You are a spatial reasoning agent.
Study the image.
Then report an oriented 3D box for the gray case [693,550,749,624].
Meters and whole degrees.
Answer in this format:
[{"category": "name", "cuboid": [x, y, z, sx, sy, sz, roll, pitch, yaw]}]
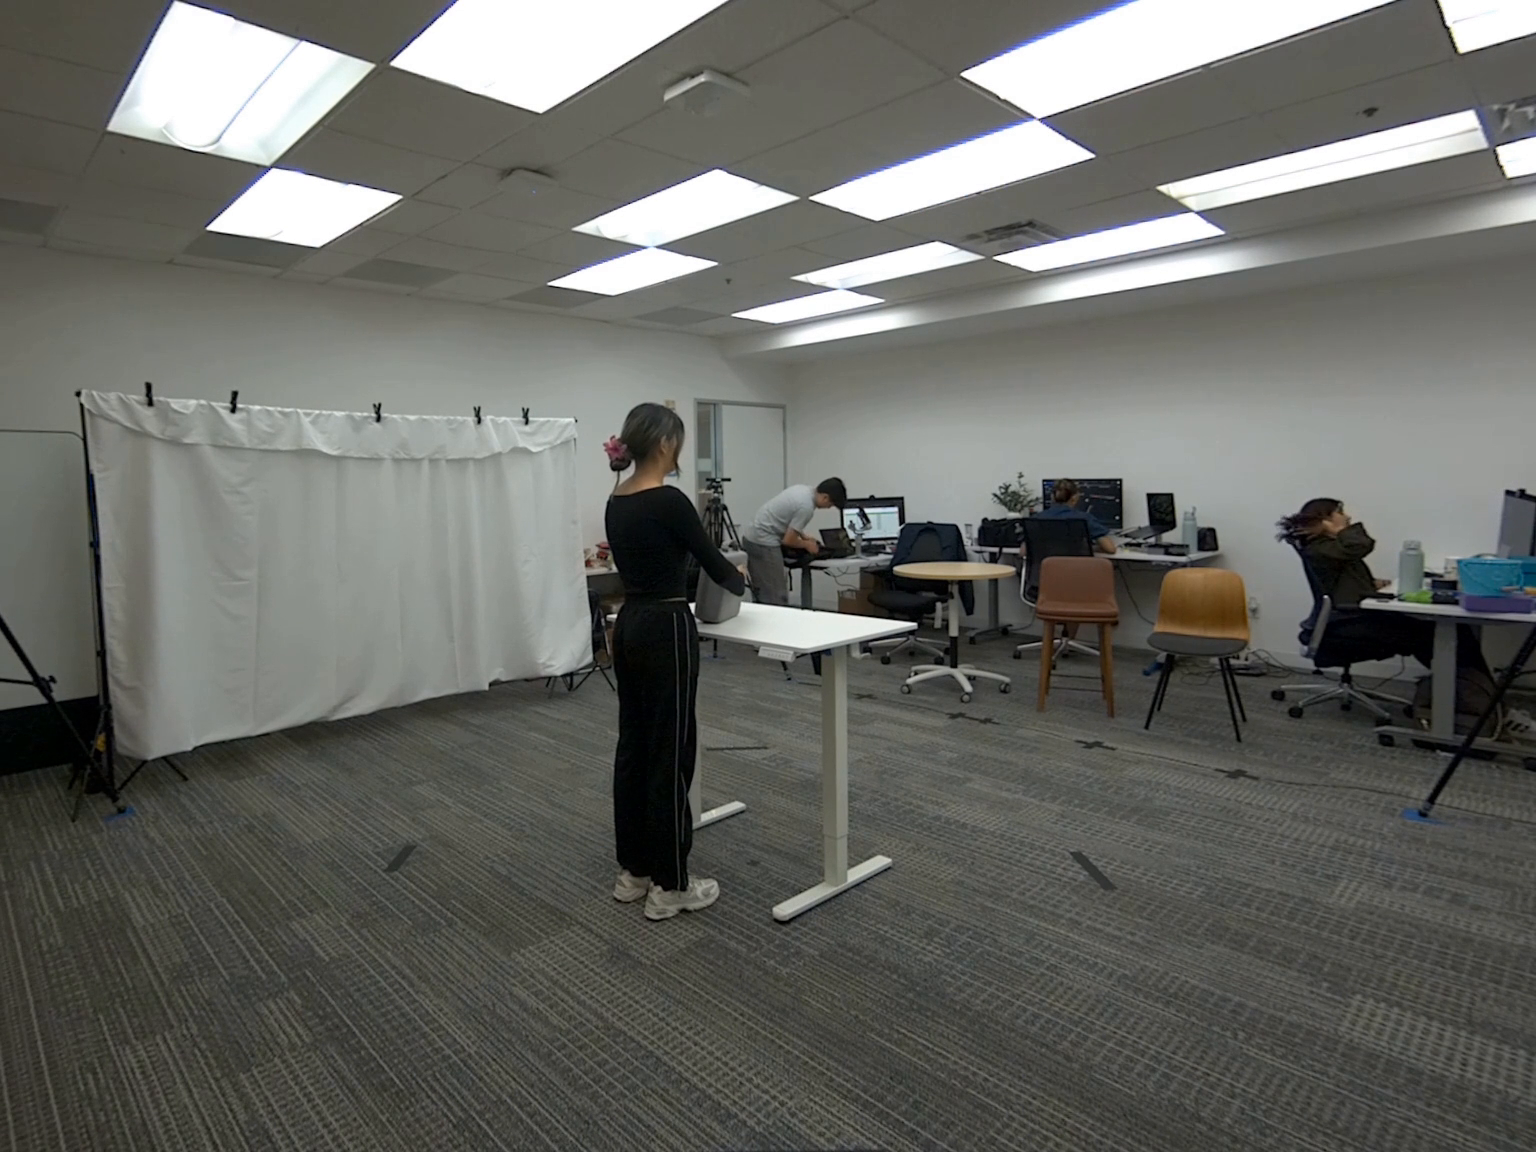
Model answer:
[{"category": "gray case", "cuboid": [-0.163, 0.030, 3.122, 0.106, 0.259, 0.254, 9, 7, 13]}]
